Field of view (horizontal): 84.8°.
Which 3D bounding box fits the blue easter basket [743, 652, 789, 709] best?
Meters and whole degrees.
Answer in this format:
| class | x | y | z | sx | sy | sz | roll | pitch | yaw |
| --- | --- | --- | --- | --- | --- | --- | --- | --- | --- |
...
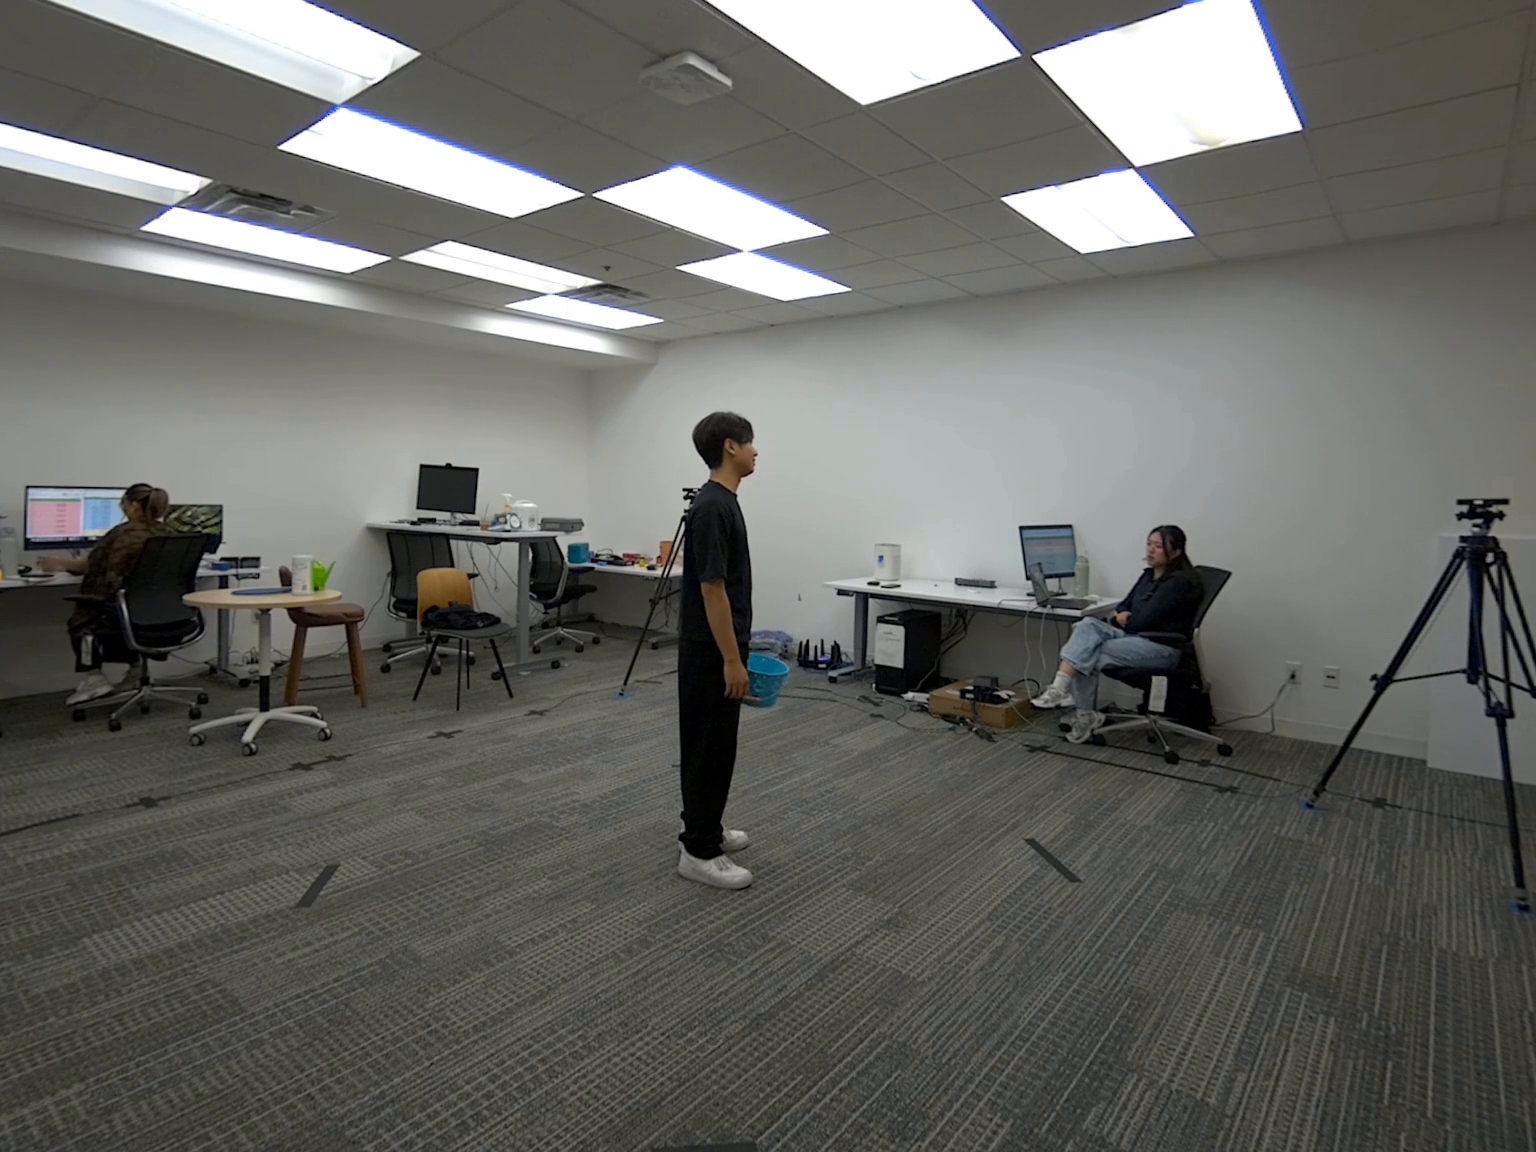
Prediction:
| class | x | y | z | sx | sy | sz | roll | pitch | yaw |
| --- | --- | --- | --- | --- | --- | --- | --- | --- | --- |
| blue easter basket | -0.059 | 0.404 | 3.396 | 0.243 | 0.155 | 0.246 | 9 | 10 | -4 |
